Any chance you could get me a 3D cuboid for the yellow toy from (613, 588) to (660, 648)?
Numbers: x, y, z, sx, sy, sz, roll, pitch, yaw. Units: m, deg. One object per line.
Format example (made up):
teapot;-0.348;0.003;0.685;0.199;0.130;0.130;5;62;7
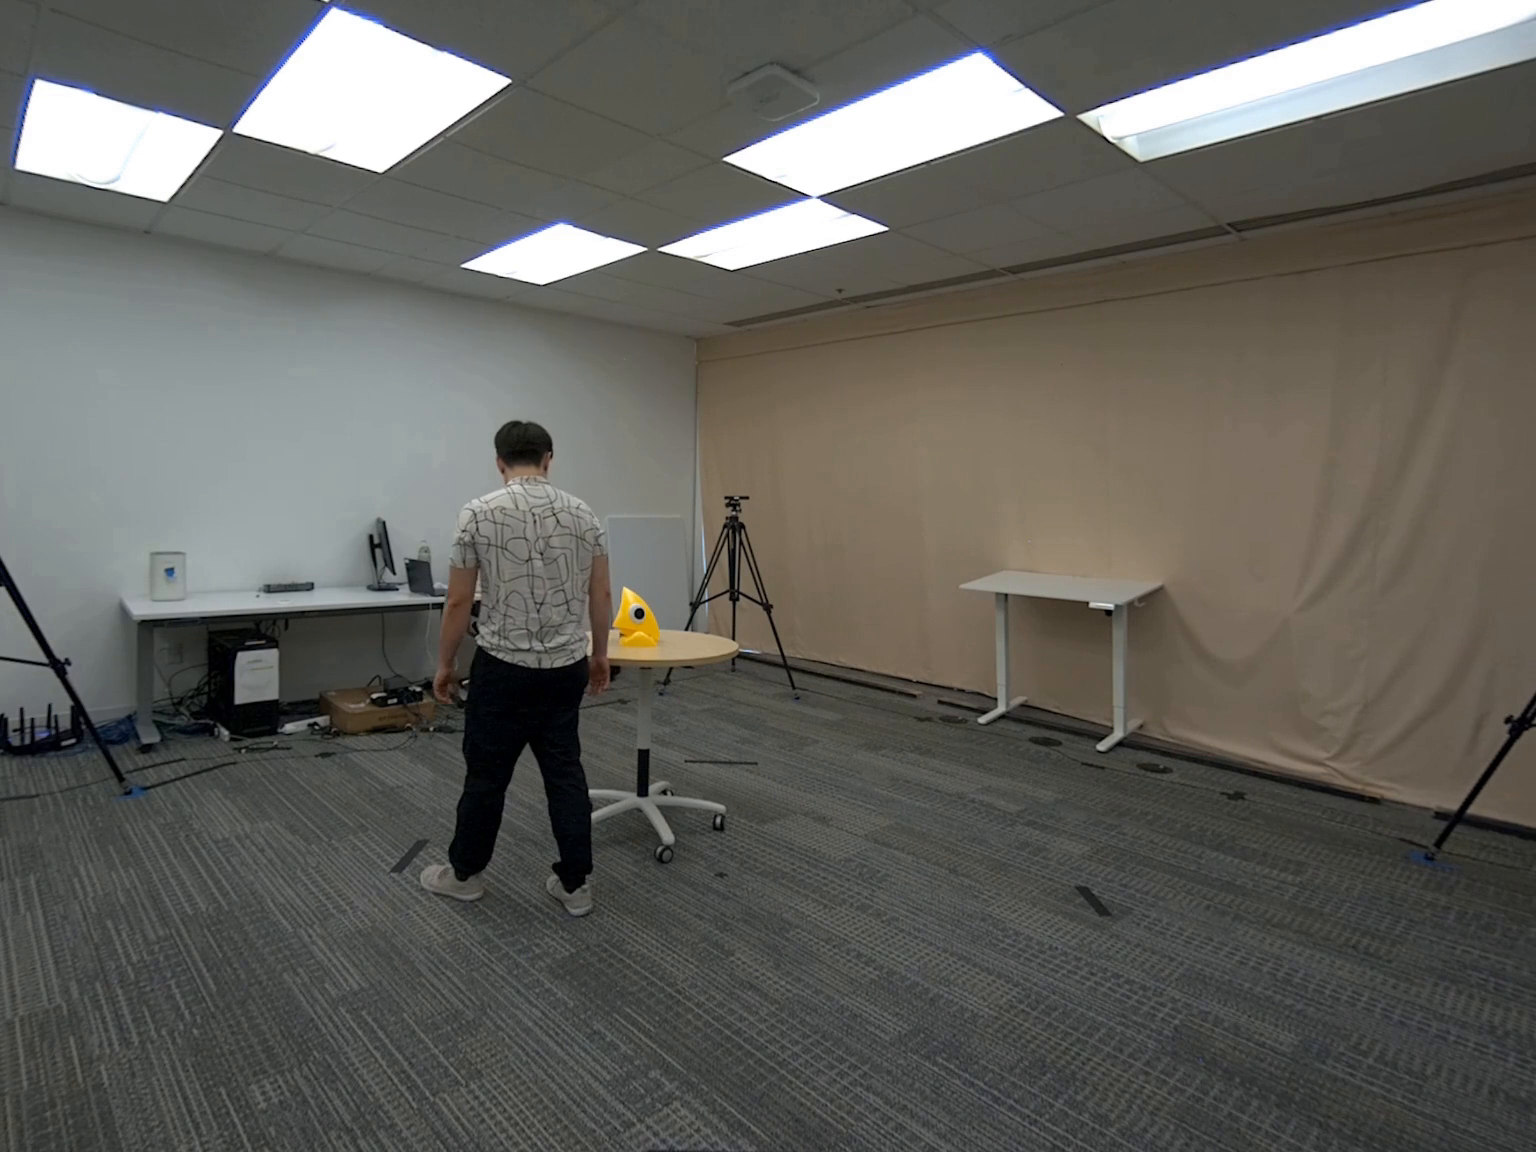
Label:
yellow toy;-0.552;0.163;3.490;0.193;0.230;0.205;2;3;-3
